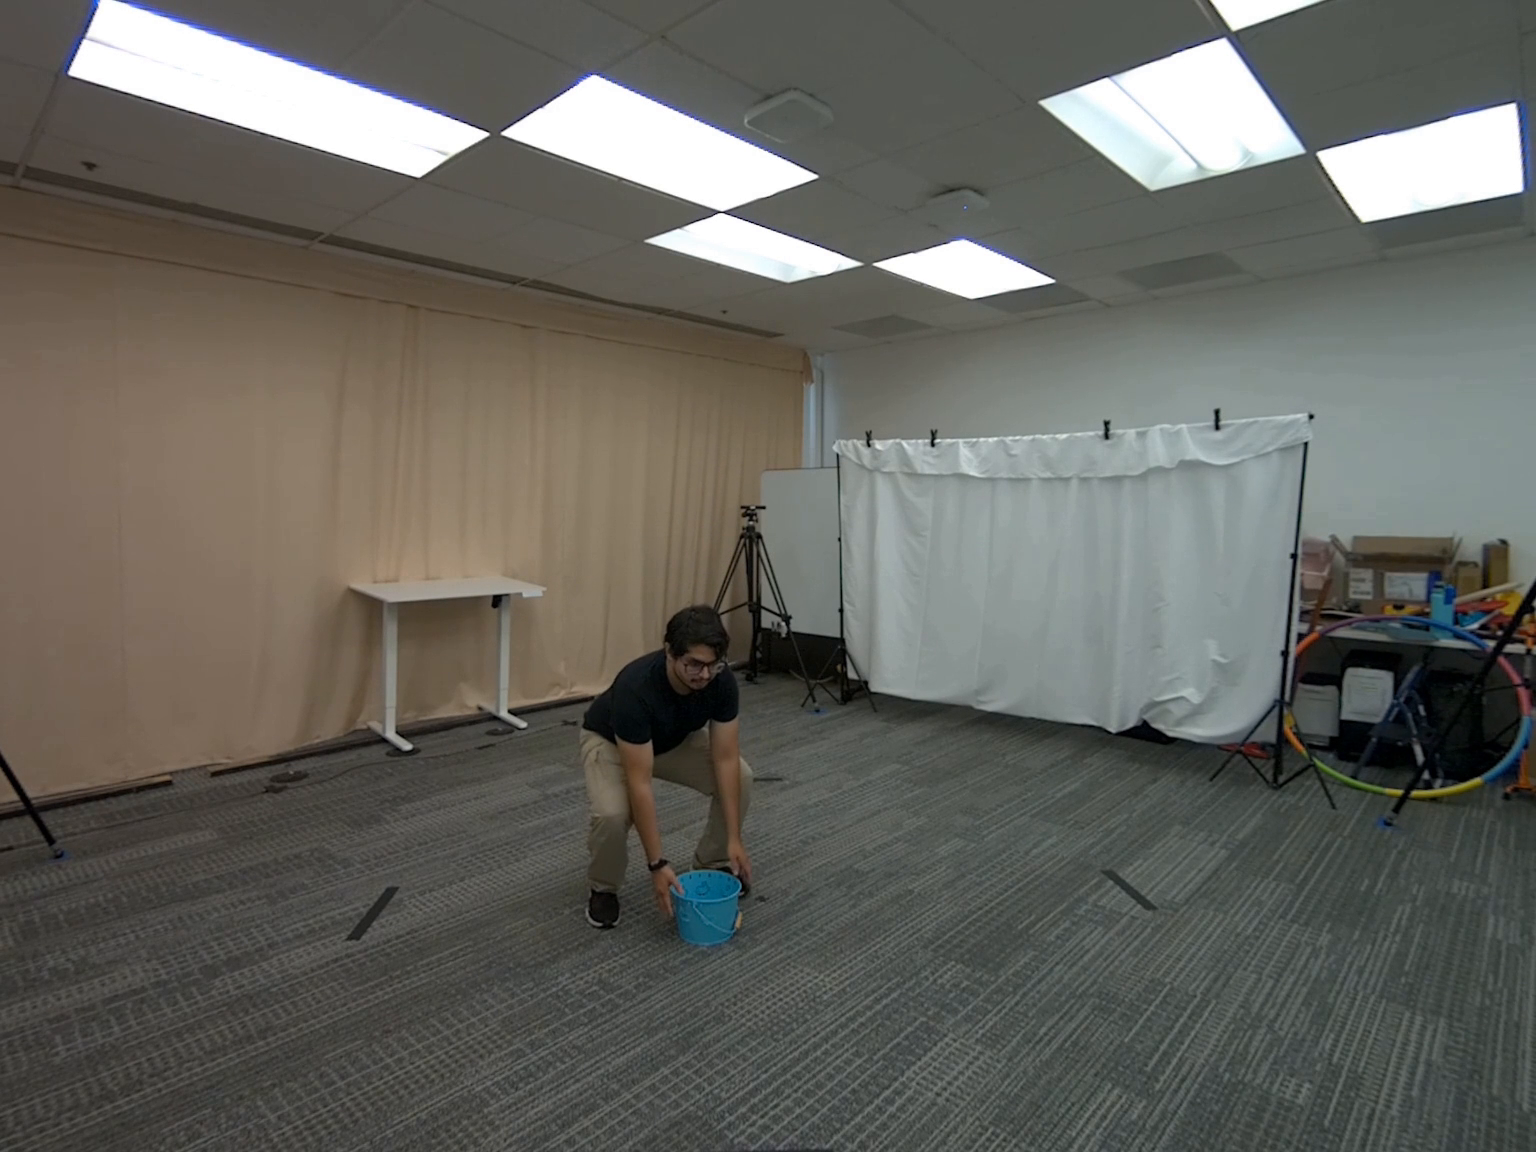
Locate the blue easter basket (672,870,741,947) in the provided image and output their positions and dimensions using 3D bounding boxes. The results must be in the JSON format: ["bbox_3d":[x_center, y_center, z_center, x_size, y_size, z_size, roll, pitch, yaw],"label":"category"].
[{"bbox_3d":[-0.203,1.088,2.759,0.243,0.155,0.244,-1,4,-2],"label":"blue easter basket"}]
